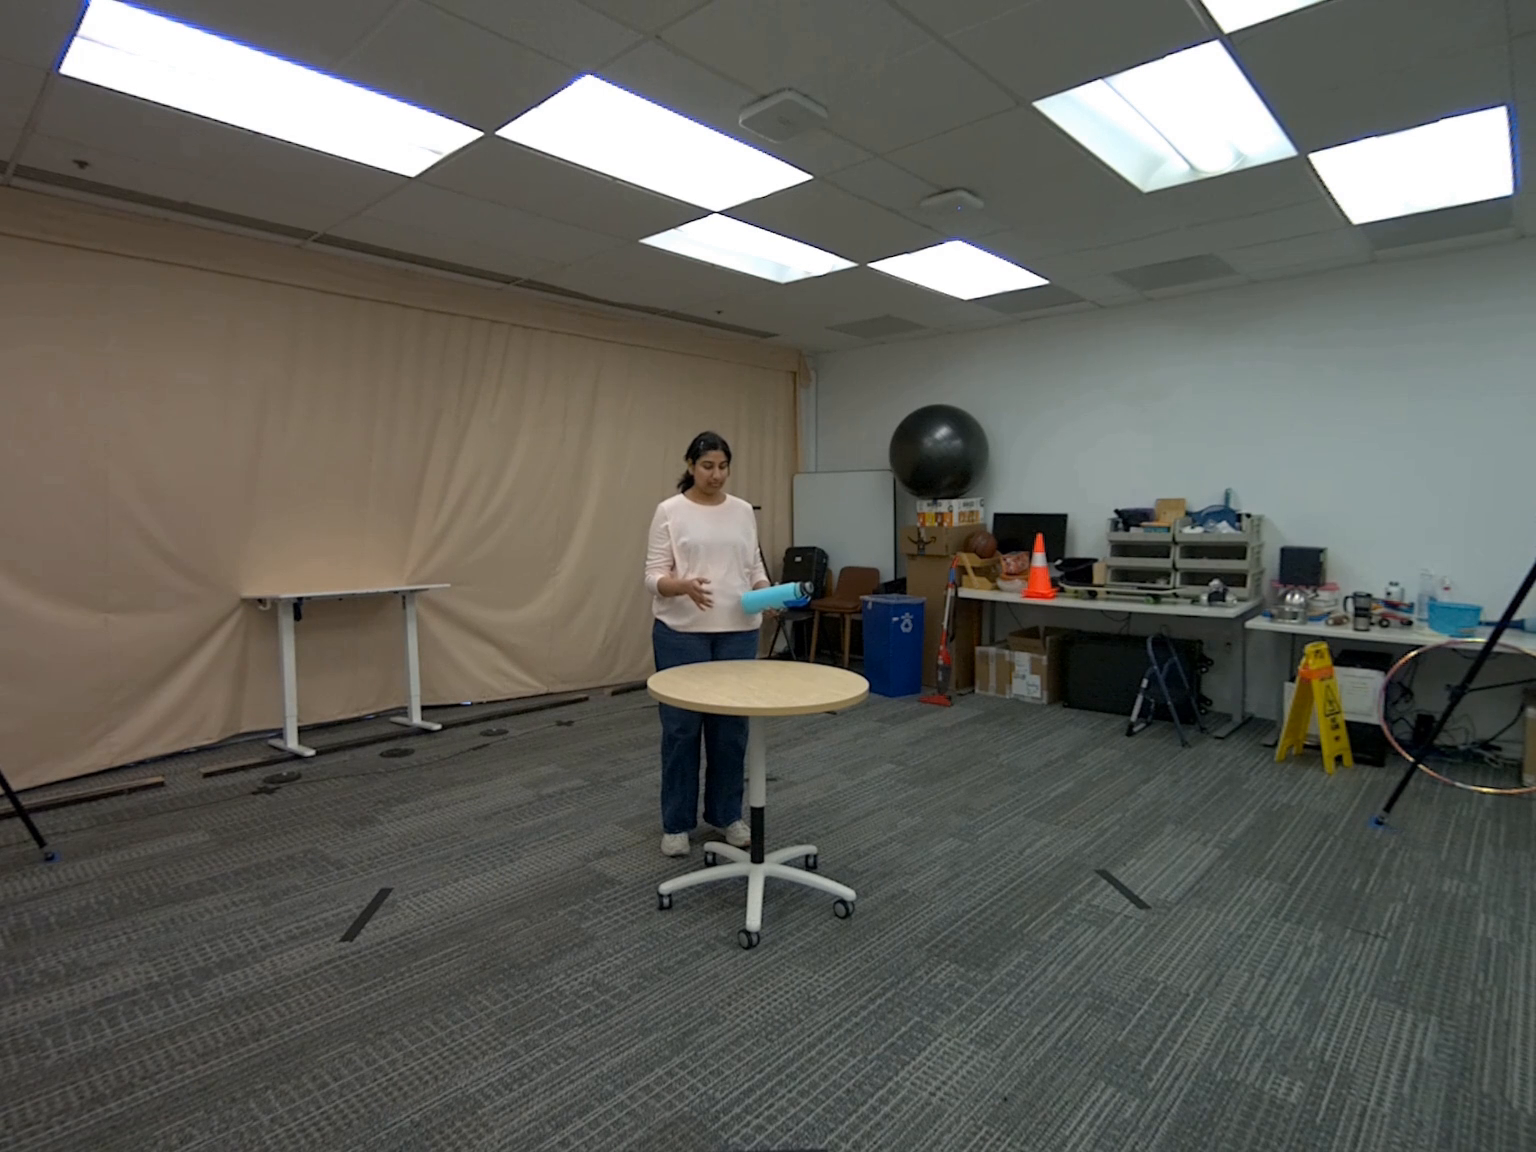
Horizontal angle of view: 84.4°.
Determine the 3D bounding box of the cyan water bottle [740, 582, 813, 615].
[{"bbox_3d":[0.044,0.082,3.250,0.290,0.092,0.090,-14,-3,29],"label":"cyan water bottle"}]
